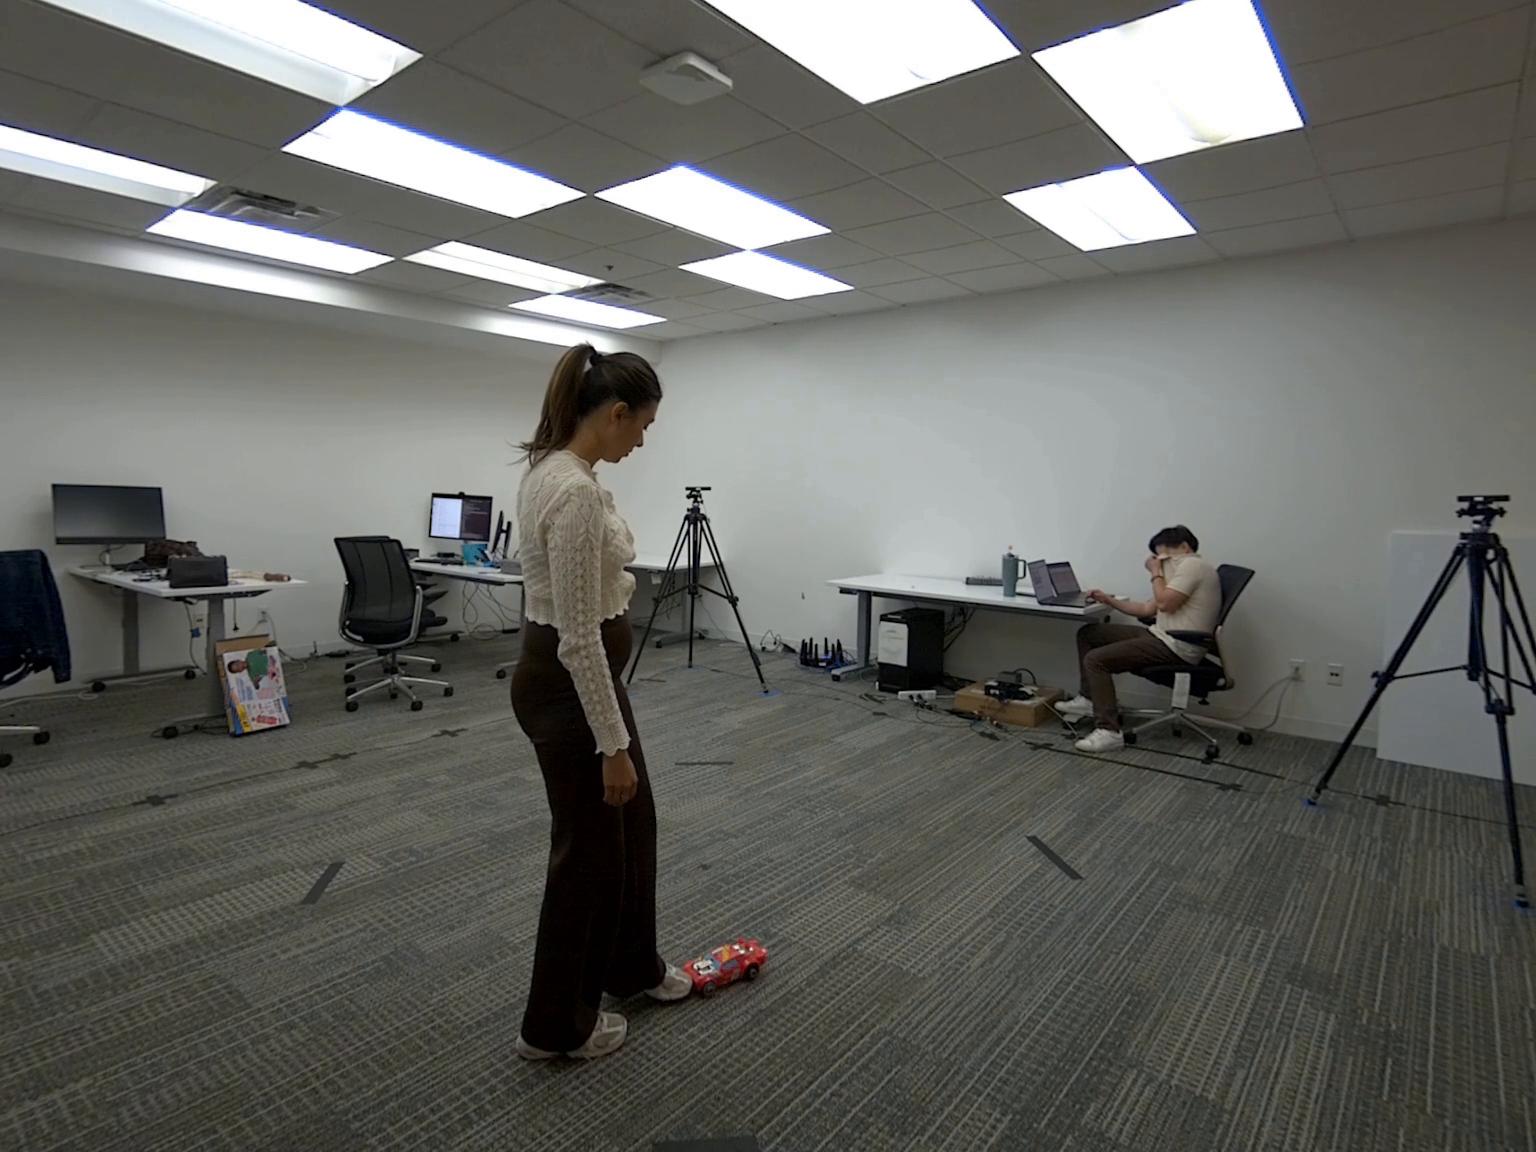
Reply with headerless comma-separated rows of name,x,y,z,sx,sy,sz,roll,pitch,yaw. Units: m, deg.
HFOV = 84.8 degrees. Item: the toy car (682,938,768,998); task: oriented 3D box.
toy car,-0.118,1.106,2.416,0.249,0.082,0.135,-17,16,-34
